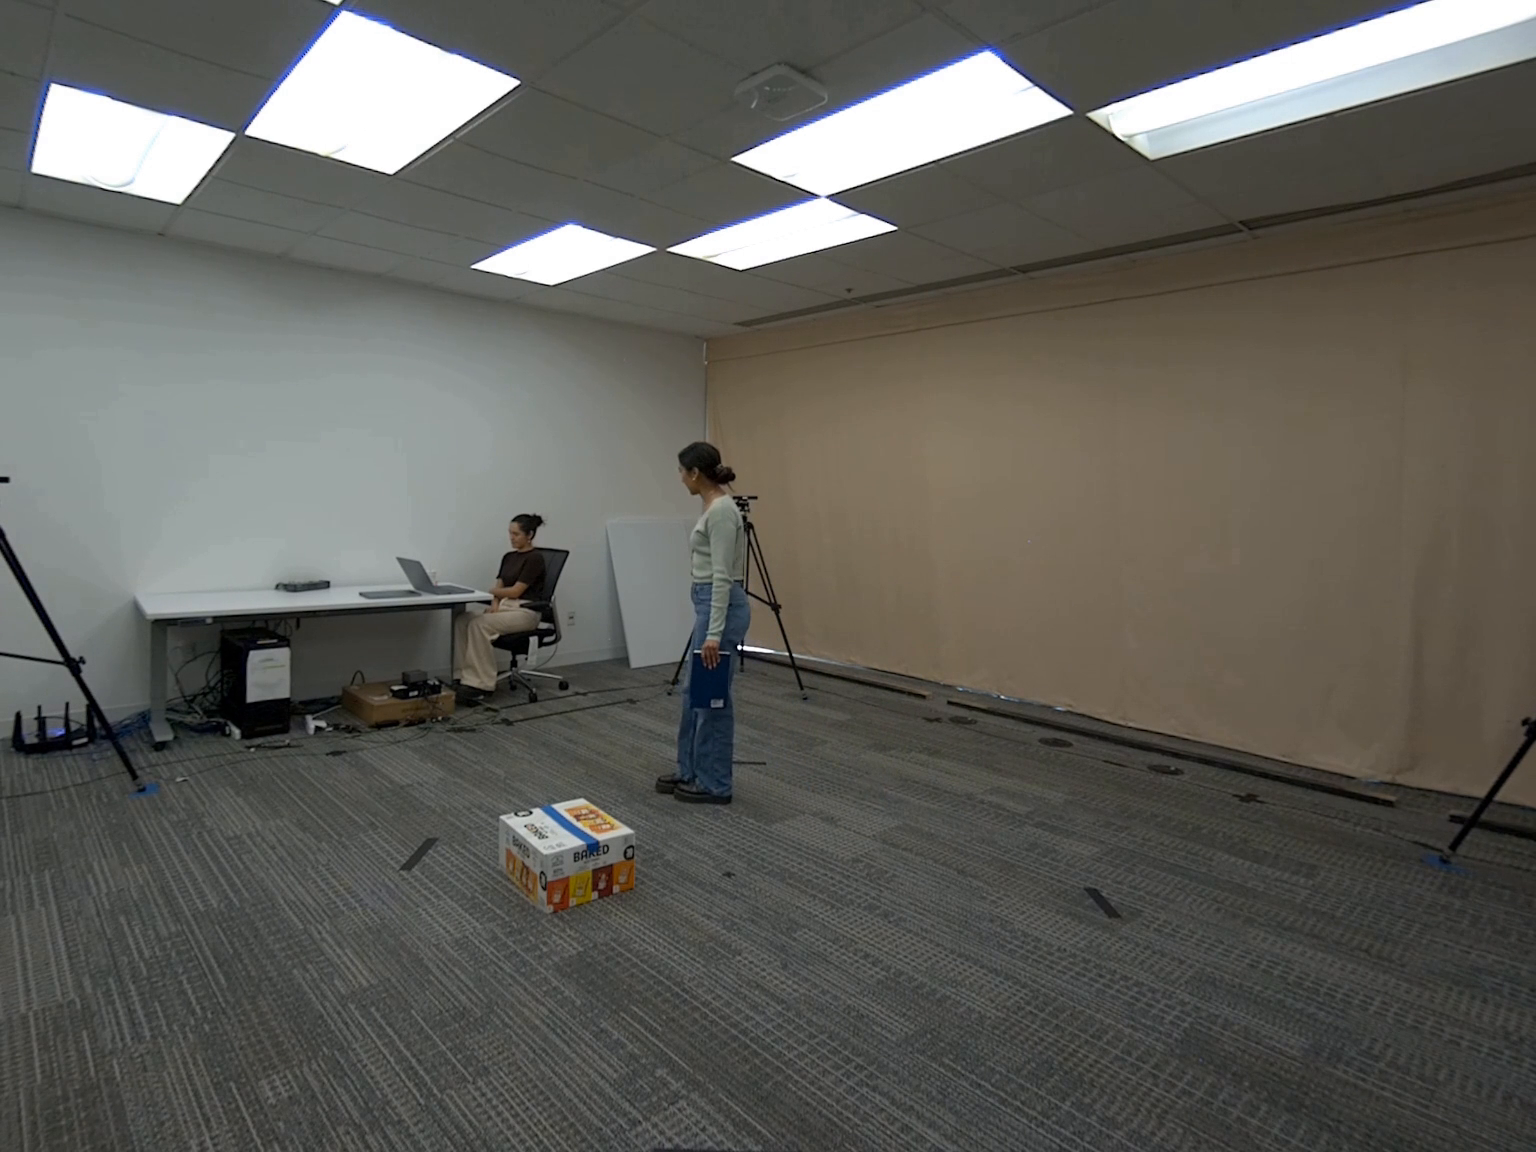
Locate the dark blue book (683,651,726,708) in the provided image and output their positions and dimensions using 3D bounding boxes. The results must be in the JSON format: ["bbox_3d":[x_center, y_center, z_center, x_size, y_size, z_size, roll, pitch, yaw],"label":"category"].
[{"bbox_3d":[-0.275,0.452,3.637,0.162,0.244,0.045,3,5,-8],"label":"dark blue book"}]
